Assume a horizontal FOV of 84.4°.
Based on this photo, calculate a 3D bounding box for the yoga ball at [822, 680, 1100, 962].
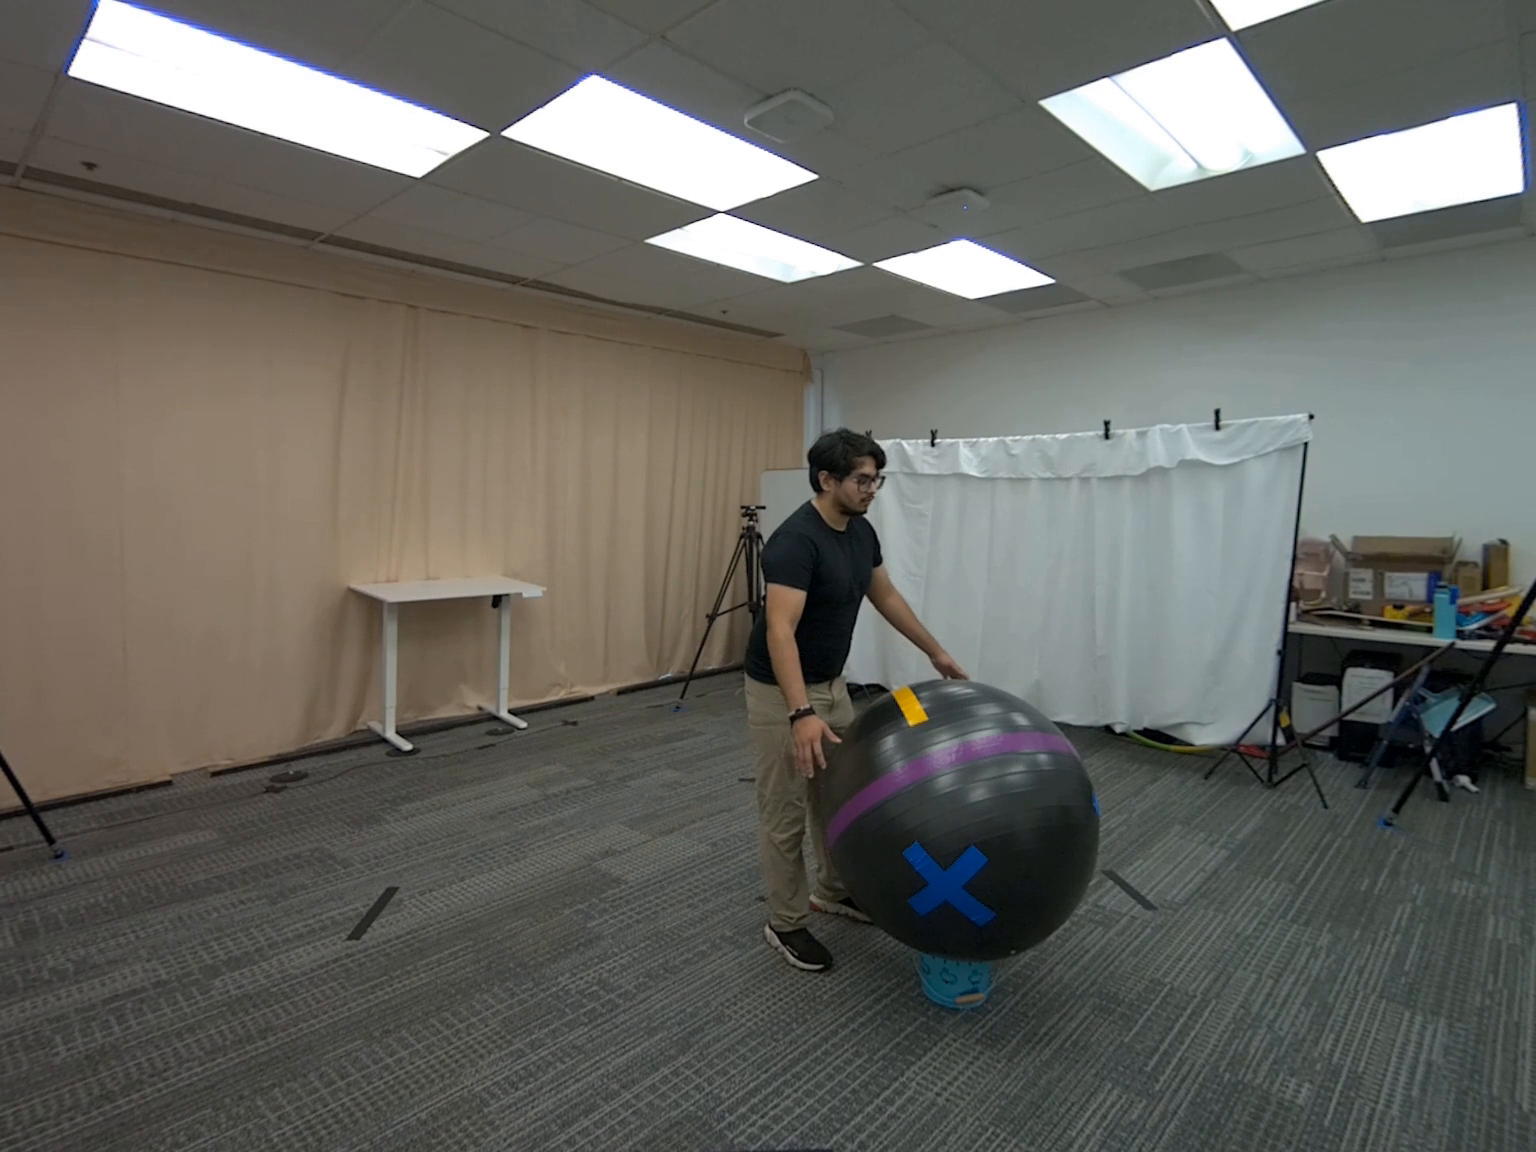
[{"bbox_3d":[0.537,0.688,2.402,0.757,0.756,0.760,0,4,-2],"label":"yoga ball"}]
